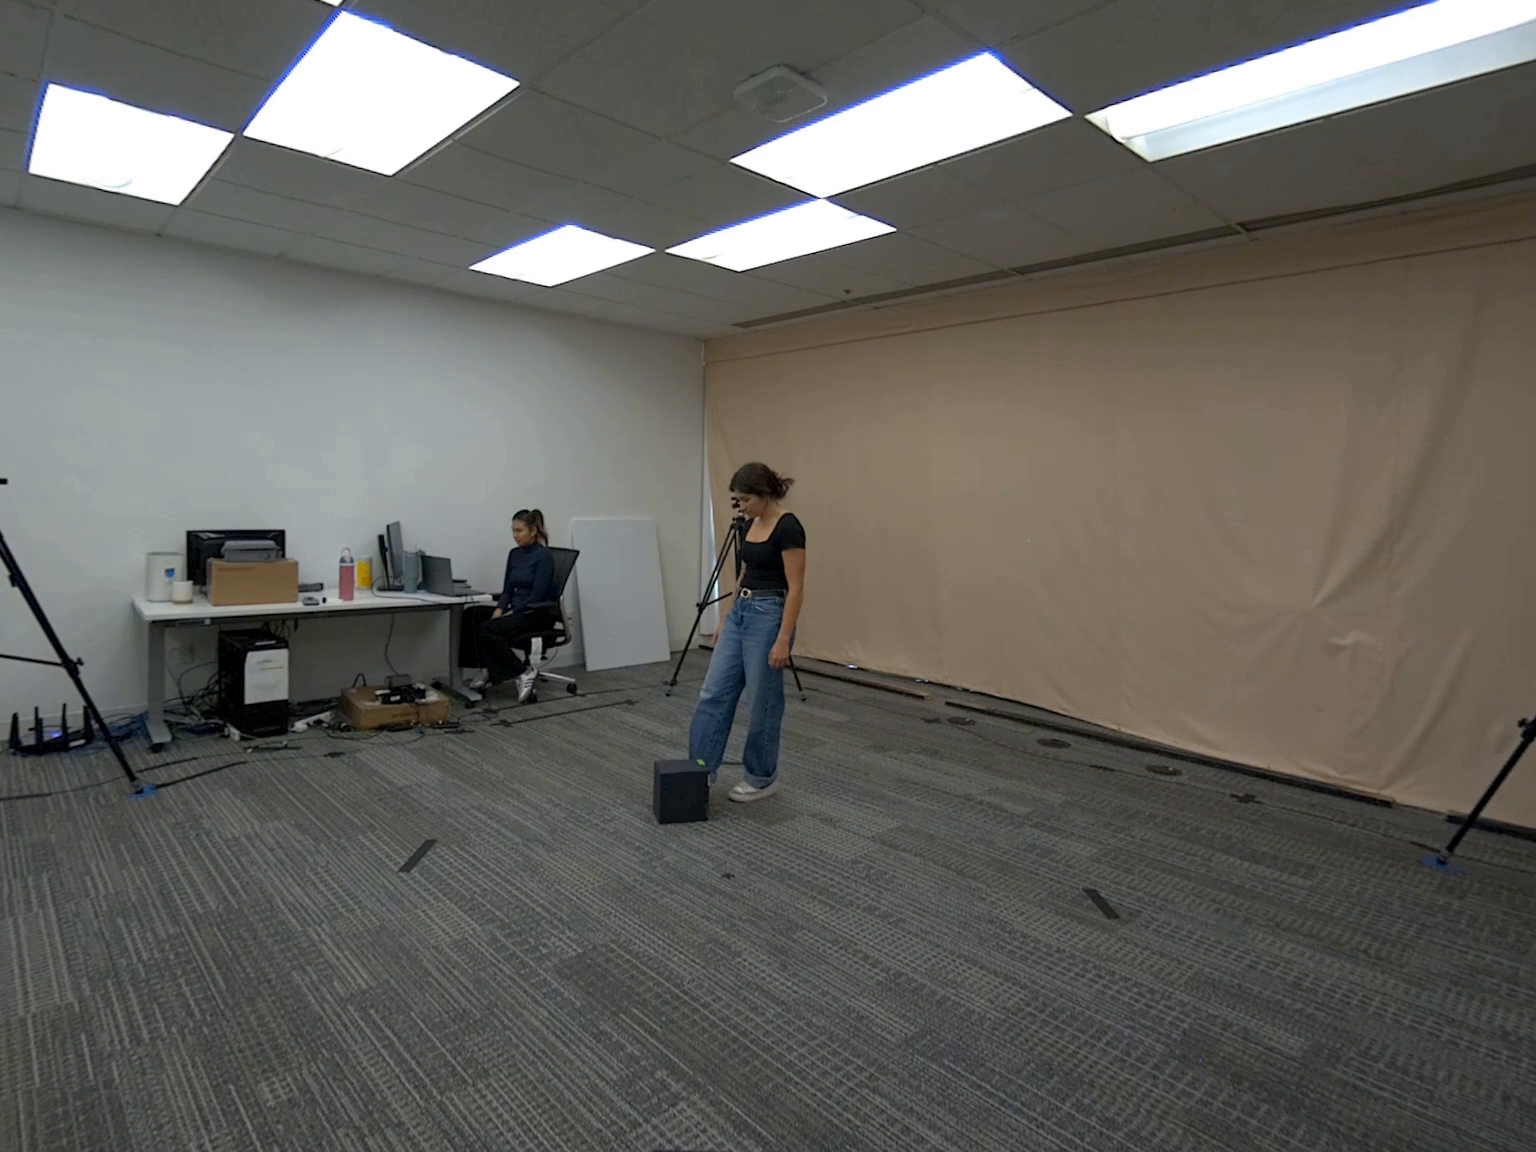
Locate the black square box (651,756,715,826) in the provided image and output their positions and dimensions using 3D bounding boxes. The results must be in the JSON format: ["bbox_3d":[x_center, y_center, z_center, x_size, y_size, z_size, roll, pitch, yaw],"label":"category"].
[{"bbox_3d":[-0.391,0.931,3.678,0.214,0.227,0.158,1,6,-18],"label":"black square box"}]
